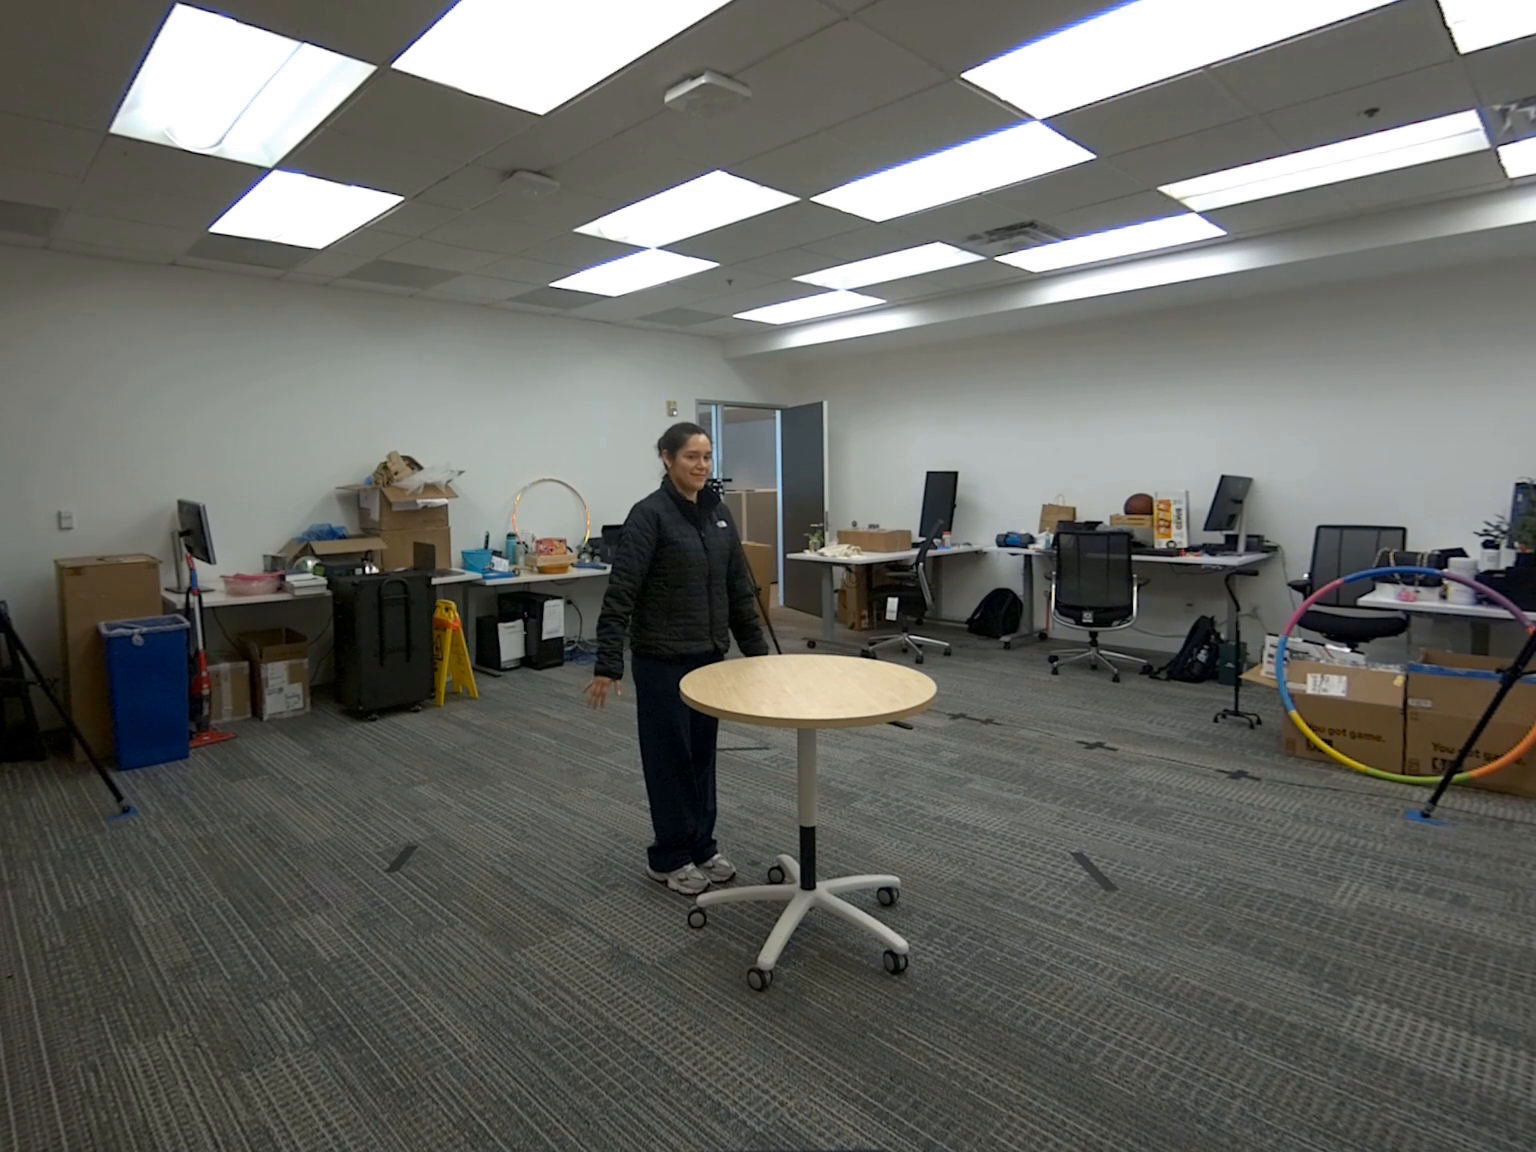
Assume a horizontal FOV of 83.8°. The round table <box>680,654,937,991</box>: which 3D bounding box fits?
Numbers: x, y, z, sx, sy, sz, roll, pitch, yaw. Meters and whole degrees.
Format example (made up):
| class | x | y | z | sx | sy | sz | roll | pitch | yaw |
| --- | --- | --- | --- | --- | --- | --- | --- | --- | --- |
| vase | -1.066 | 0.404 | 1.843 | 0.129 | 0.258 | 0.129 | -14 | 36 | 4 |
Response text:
| class | x | y | z | sx | sy | sz | roll | pitch | yaw |
| --- | --- | --- | --- | --- | --- | --- | --- | --- | --- |
| round table | 0.115 | 0.706 | 2.623 | 0.784 | 0.783 | 0.790 | -1 | 6 | -2 |
